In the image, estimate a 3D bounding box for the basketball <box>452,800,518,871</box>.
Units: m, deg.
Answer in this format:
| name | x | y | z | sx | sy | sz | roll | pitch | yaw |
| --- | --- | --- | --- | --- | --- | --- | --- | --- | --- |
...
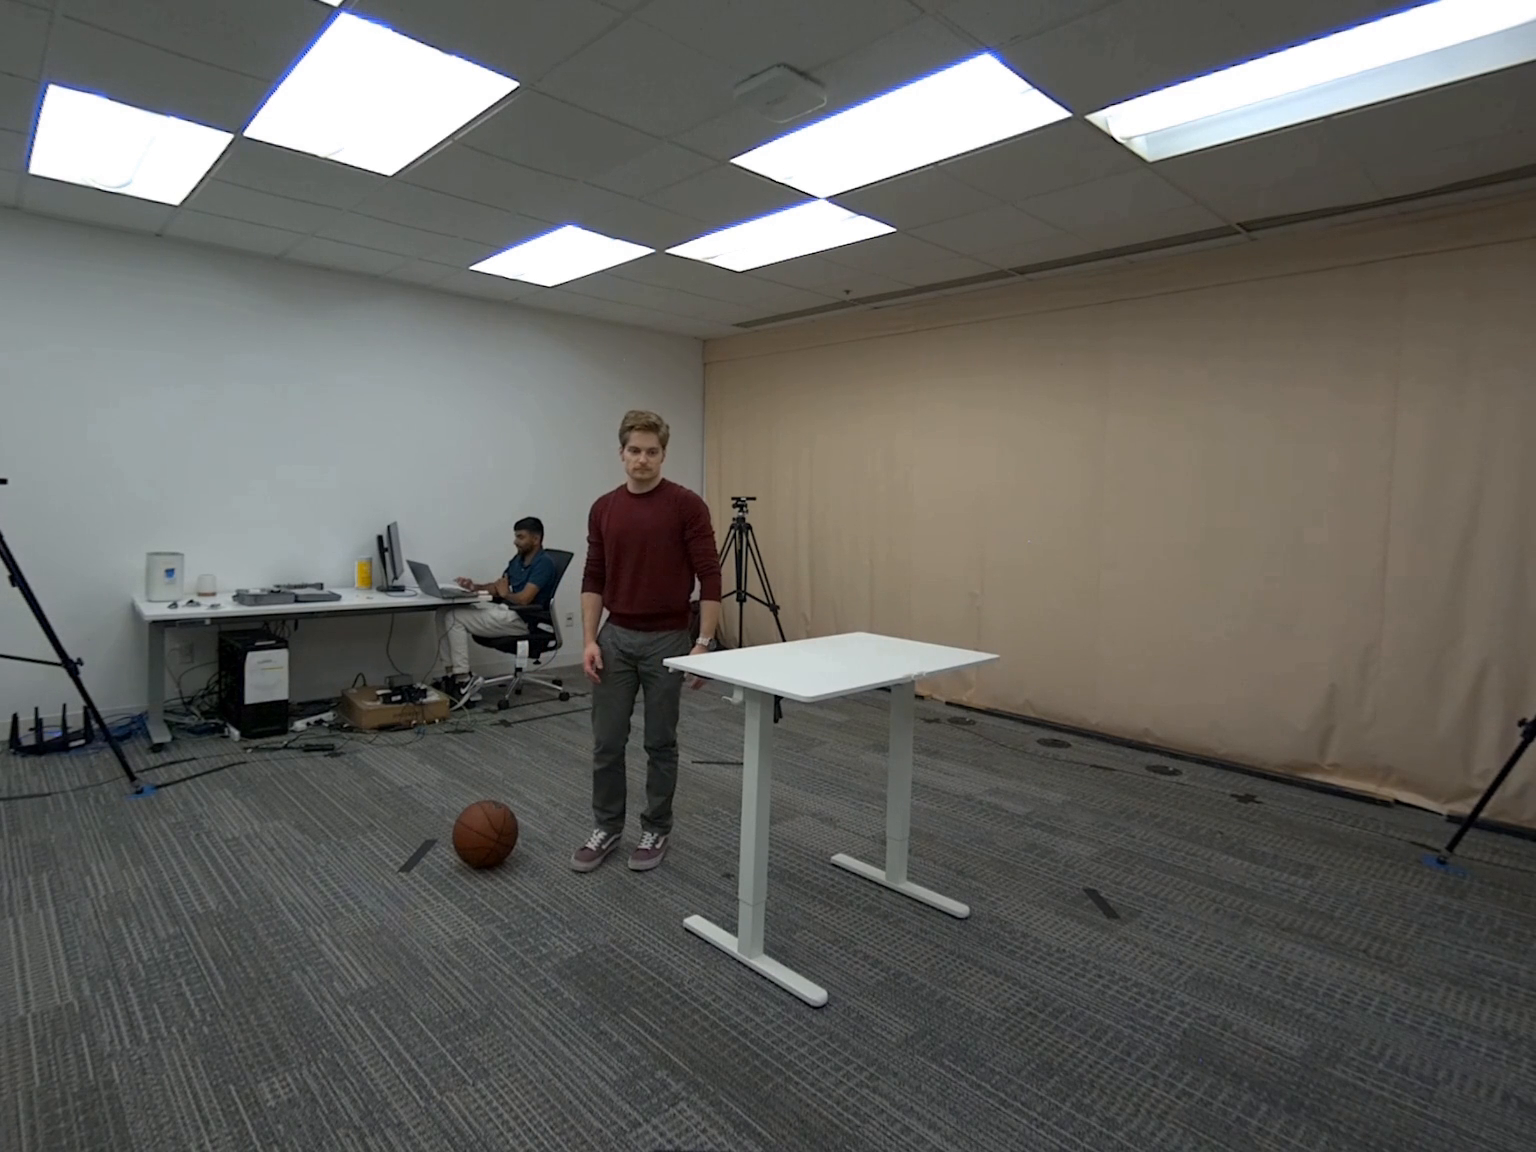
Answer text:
| name | x | y | z | sx | sy | sz | roll | pitch | yaw |
| --- | --- | --- | --- | --- | --- | --- | --- | --- | --- |
| basketball | -1.072 | 0.967 | 3.149 | 0.236 | 0.235 | 0.237 | 1 | 4 | -1 |
